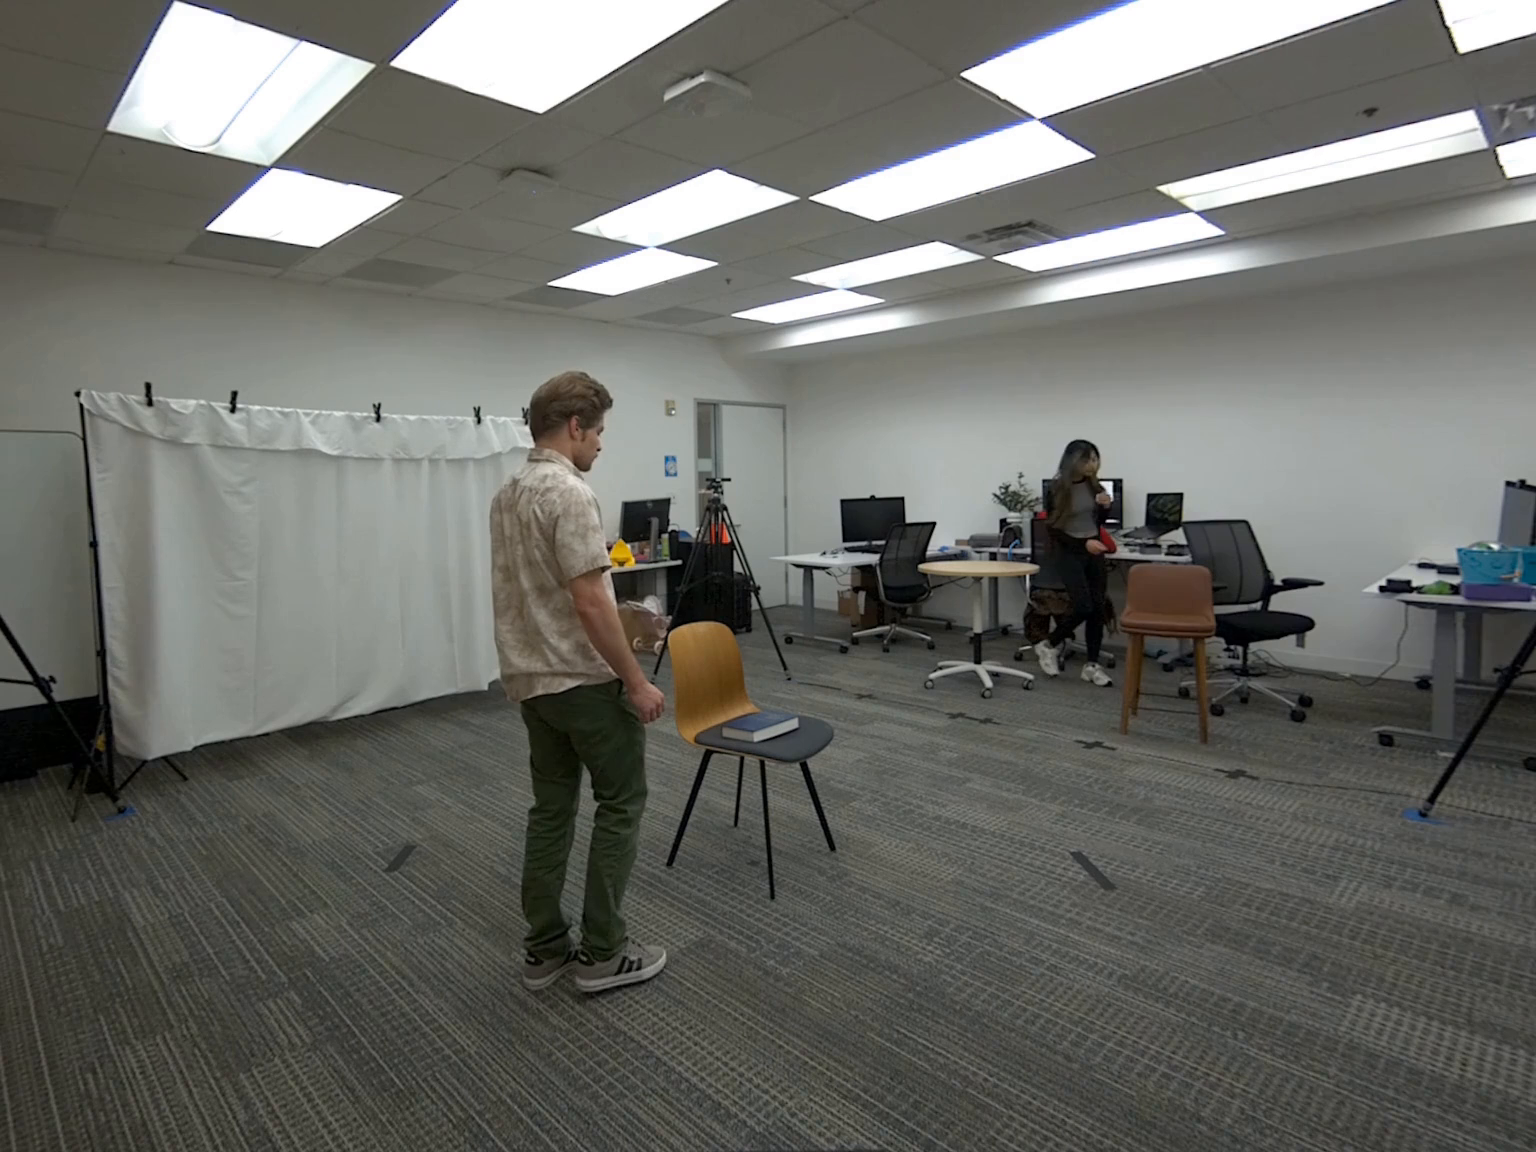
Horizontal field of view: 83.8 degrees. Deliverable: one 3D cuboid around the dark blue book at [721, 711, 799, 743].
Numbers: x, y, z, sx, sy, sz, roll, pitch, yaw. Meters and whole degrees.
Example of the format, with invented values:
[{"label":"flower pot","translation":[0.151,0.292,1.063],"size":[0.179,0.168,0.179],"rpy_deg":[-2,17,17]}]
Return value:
[{"label":"dark blue book","translation":[-0.027,0.537,3.082],"size":[0.168,0.045,0.239],"rpy_deg":[1,7,43]}]
